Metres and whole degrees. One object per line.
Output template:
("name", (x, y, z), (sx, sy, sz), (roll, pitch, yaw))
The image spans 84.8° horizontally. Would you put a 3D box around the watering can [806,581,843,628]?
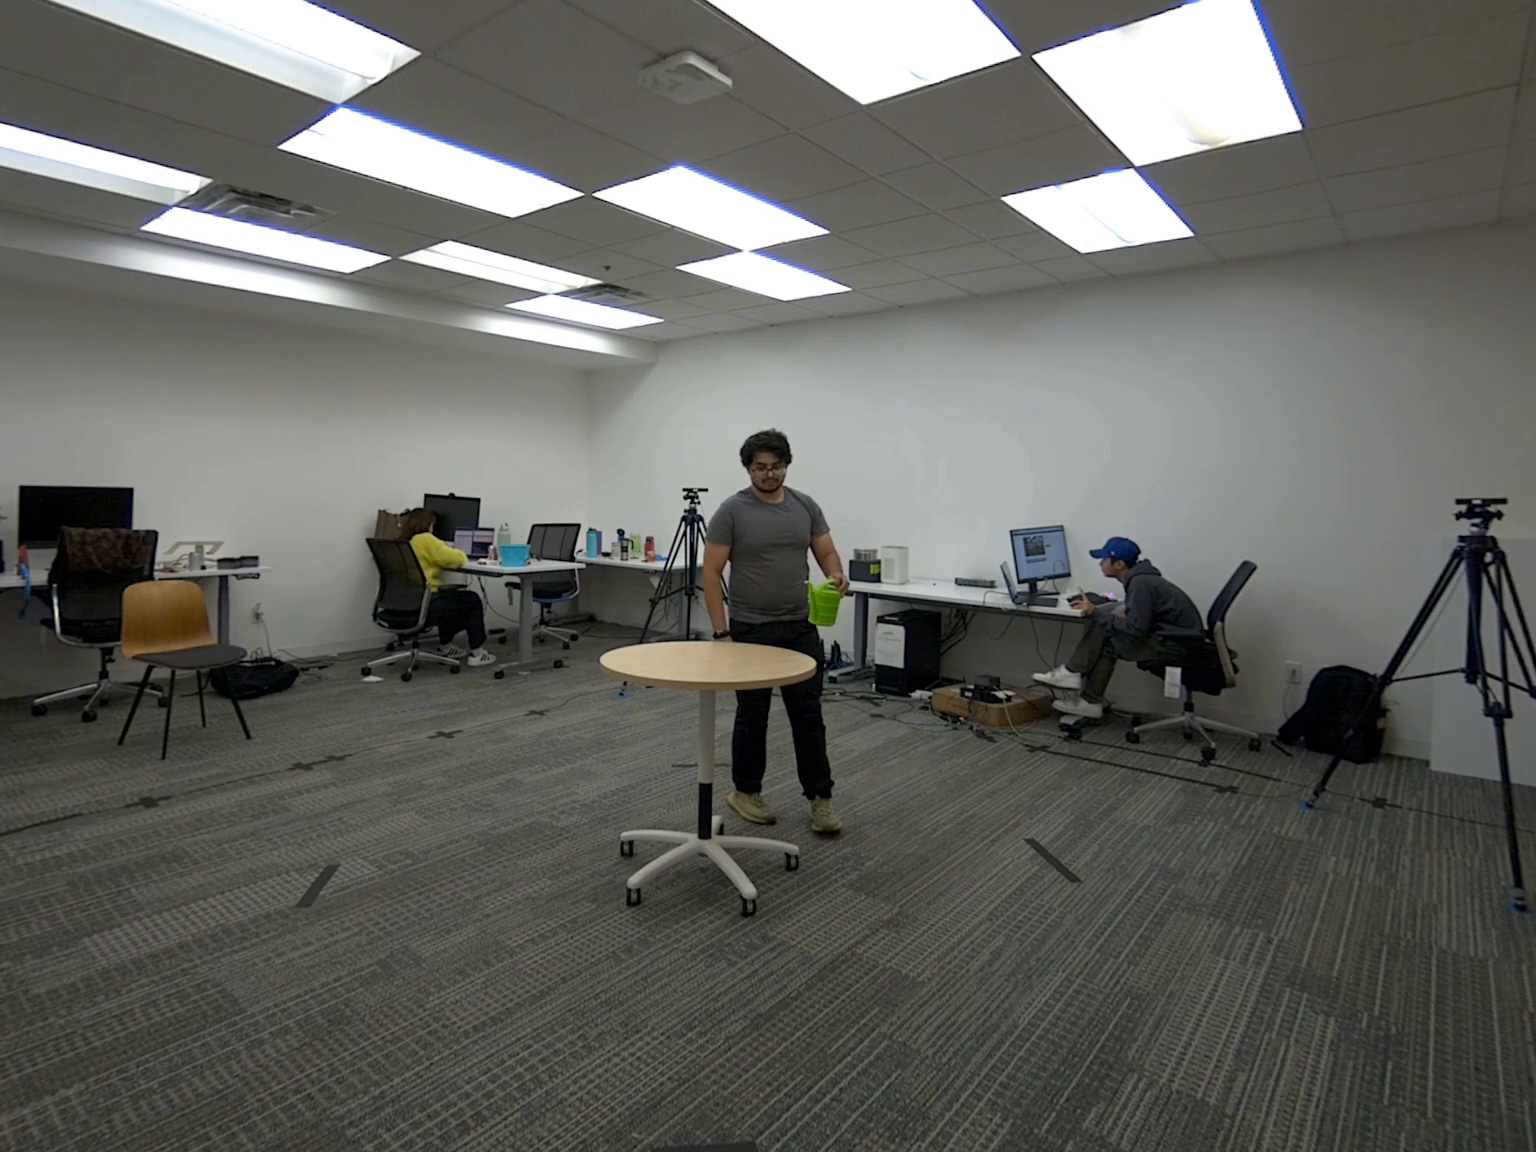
("watering can", (0.190, 0.096, 3.263), (0.269, 0.176, 0.102), (5, 12, -43))
